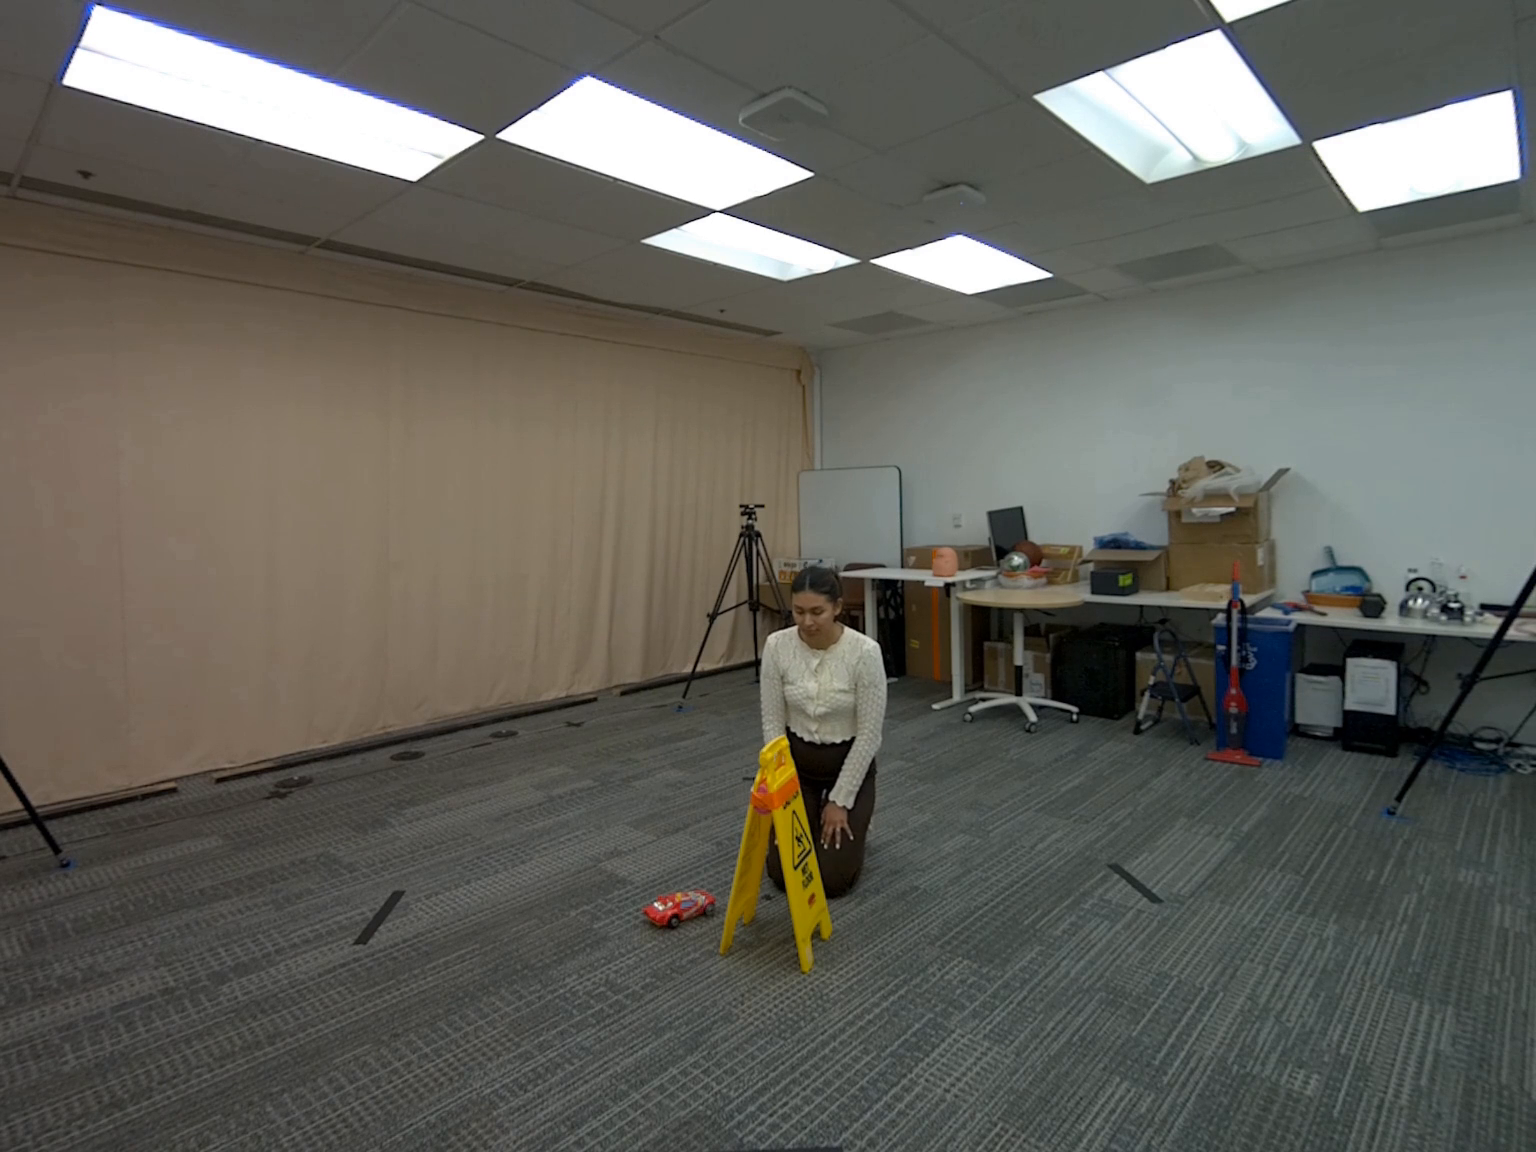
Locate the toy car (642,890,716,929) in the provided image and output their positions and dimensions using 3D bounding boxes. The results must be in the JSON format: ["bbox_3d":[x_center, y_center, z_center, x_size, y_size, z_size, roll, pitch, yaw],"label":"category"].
[{"bbox_3d":[-0.311,1.127,2.845,0.246,0.083,0.134,9,-3,-35],"label":"toy car"}]
